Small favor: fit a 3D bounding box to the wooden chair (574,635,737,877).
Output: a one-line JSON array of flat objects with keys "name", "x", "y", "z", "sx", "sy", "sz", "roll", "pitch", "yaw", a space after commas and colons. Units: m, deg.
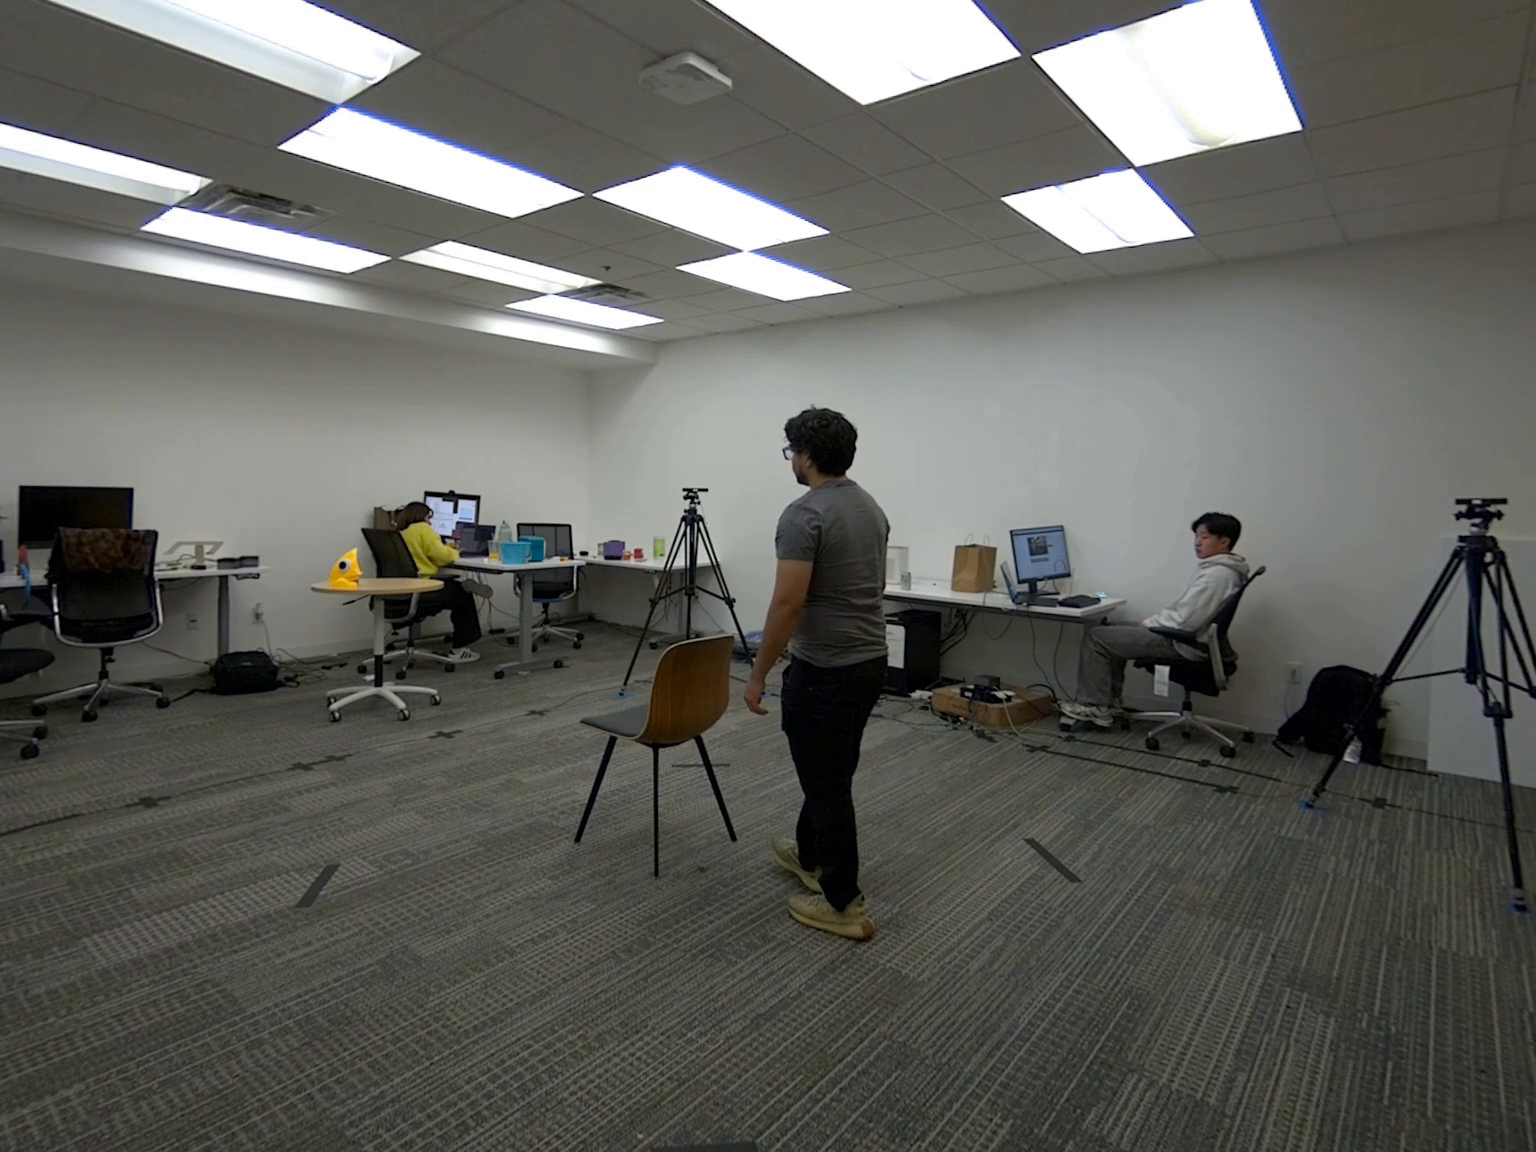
[{"name": "wooden chair", "x": -0.450, "y": 0.618, "z": 3.328, "sx": 0.542, "sy": 0.873, "sz": 0.464, "roll": 9, "pitch": 7, "yaw": 39}]
